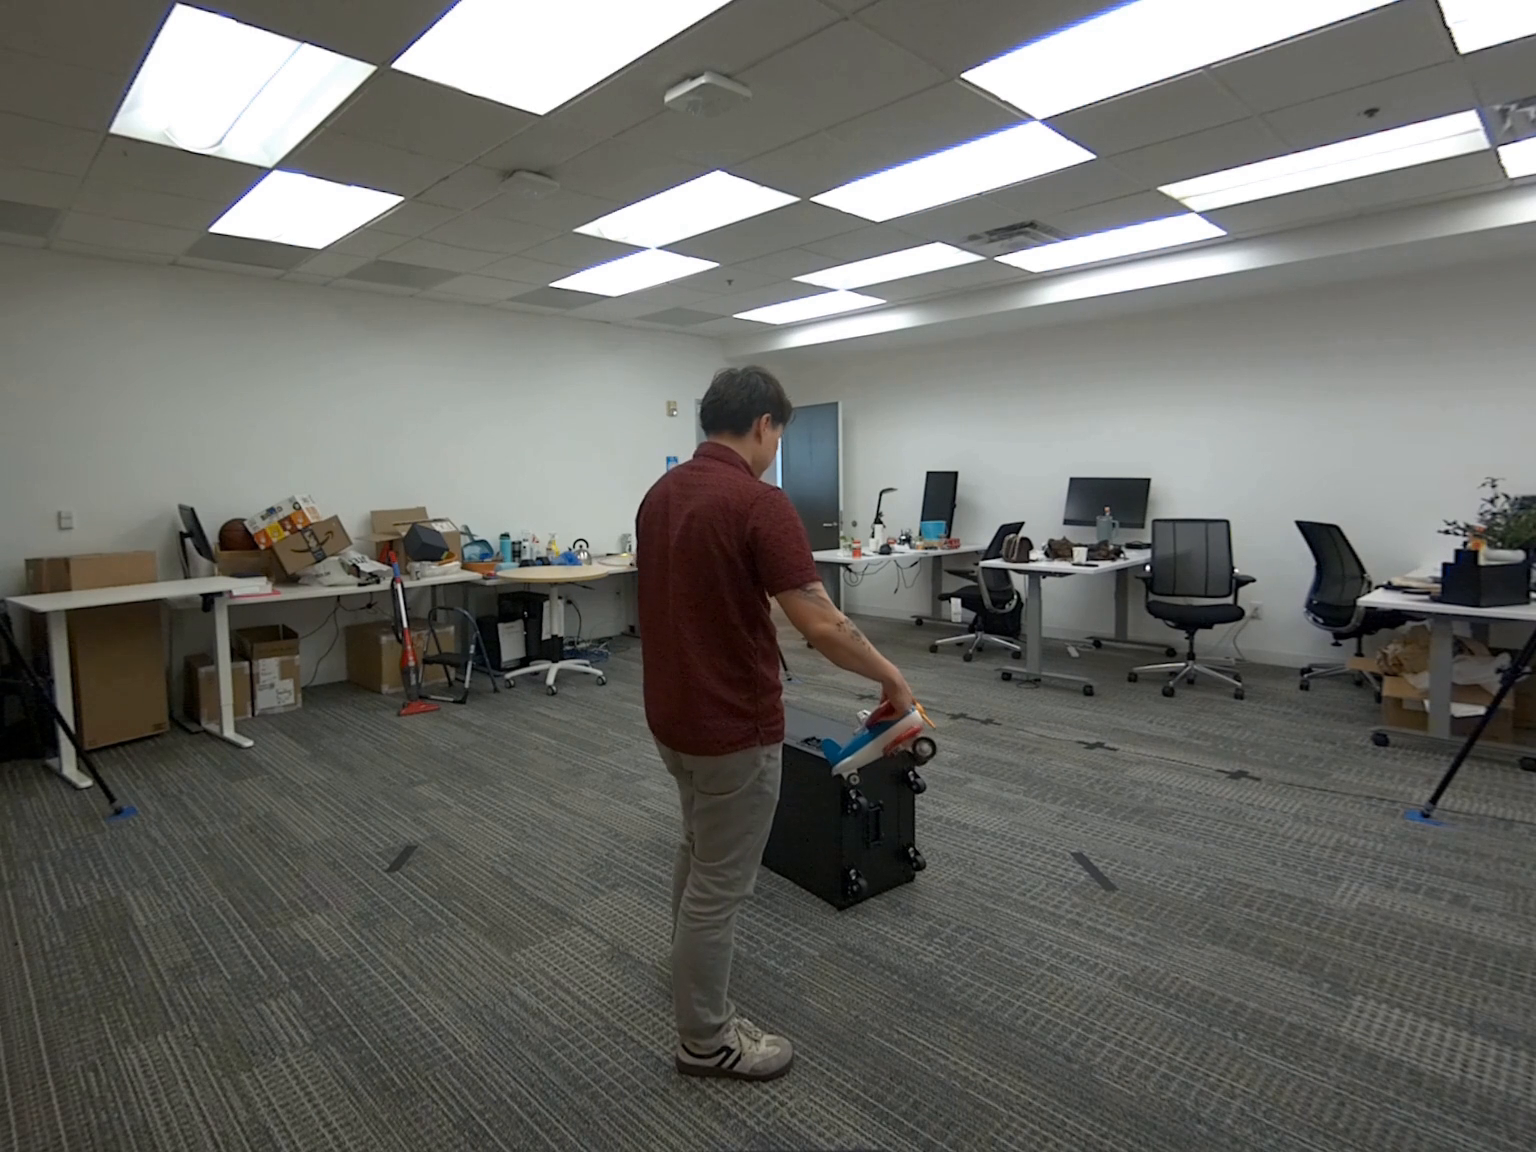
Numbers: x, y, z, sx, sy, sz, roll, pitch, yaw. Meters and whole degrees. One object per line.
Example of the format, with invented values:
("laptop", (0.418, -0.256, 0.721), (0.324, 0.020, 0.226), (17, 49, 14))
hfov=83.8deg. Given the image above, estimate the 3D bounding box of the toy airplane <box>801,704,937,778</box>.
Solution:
("toy airplane", (0.267, 0.377, 2.002), (0.254, 0.160, 0.251), (-10, -21, -31))
